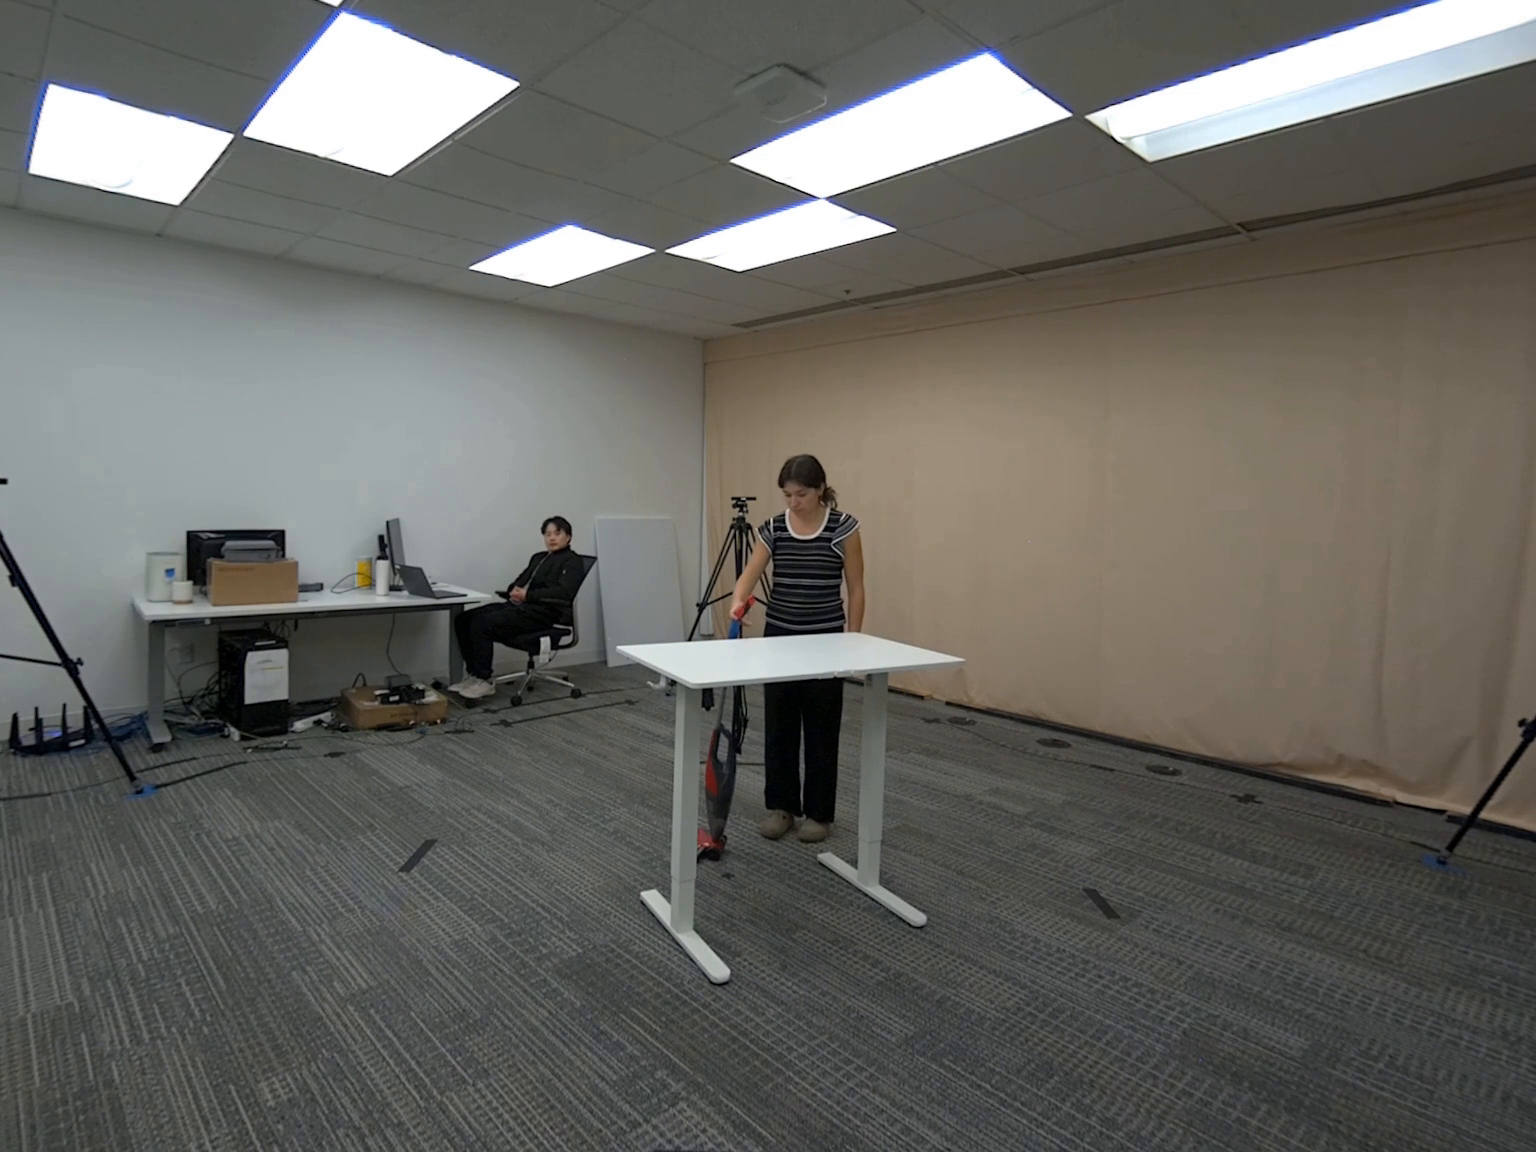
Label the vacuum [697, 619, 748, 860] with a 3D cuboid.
[{"bbox_3d":[-0.156,0.583,3.199,0.145,1.042,0.252,13,11,8],"label":"vacuum"}]
